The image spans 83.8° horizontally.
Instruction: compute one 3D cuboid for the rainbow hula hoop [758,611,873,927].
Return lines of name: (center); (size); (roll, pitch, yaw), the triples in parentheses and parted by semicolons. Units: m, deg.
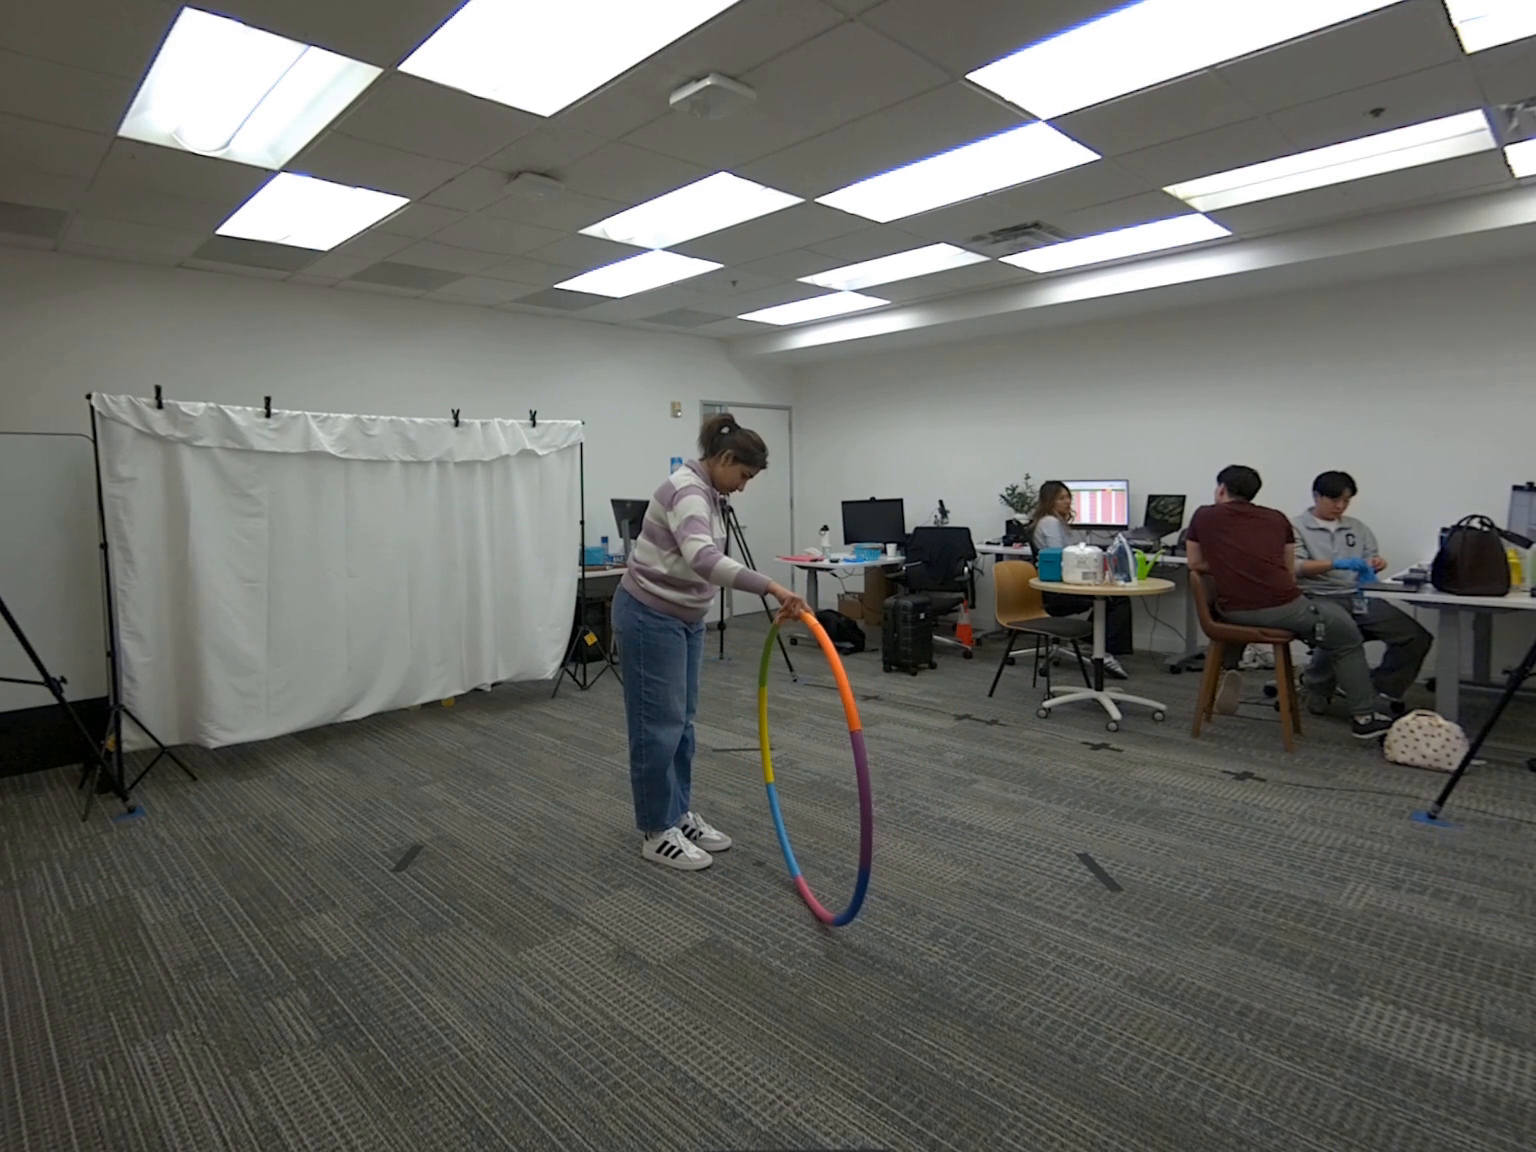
rainbow hula hoop: (0.124, 0.594, 2.745); (0.035, 0.974, 0.996); (-4, 5, -16)
